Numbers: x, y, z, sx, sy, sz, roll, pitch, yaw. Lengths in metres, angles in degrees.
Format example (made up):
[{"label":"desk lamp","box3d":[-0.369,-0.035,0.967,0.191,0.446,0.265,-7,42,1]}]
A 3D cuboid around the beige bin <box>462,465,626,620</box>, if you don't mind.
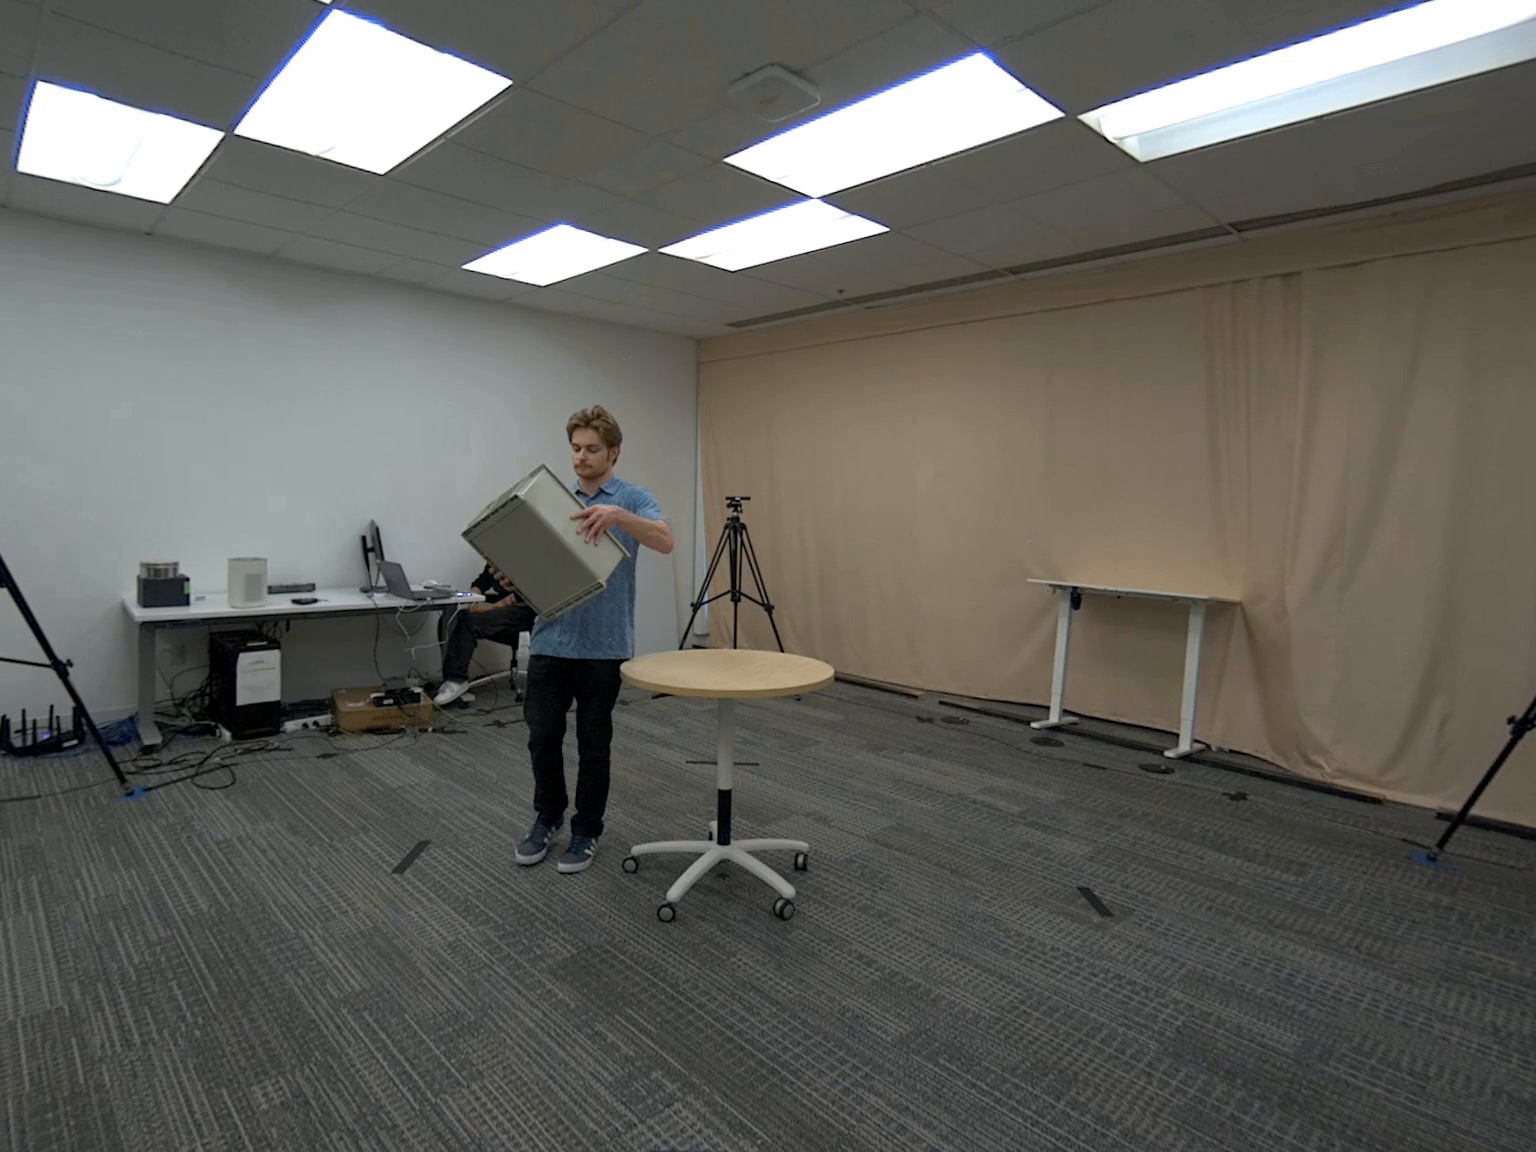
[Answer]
[{"label":"beige bin","box3d":[-0.764,-0.095,2.796,0.381,0.414,0.190,-27,22,35]}]
